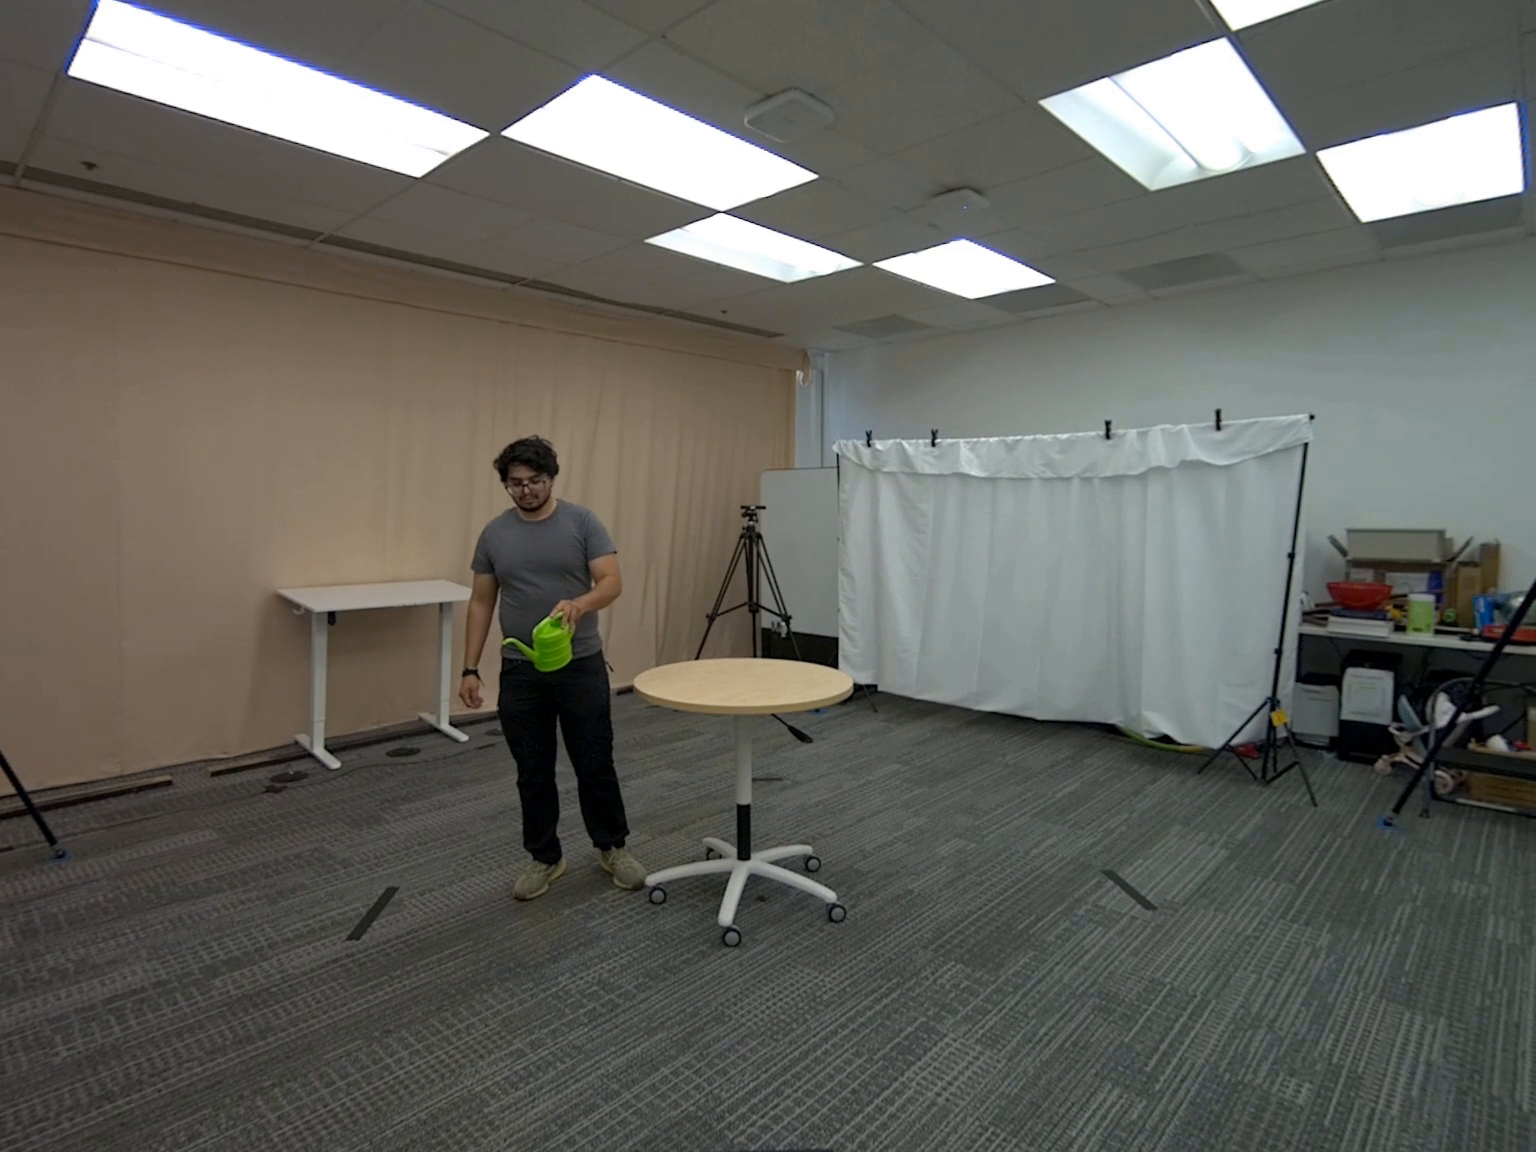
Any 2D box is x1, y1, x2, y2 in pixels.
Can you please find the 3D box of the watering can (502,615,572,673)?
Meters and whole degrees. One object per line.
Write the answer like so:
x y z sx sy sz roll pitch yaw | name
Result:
-0.725 0.217 2.679 0.272 0.174 0.101 -22 36 -39 | watering can
